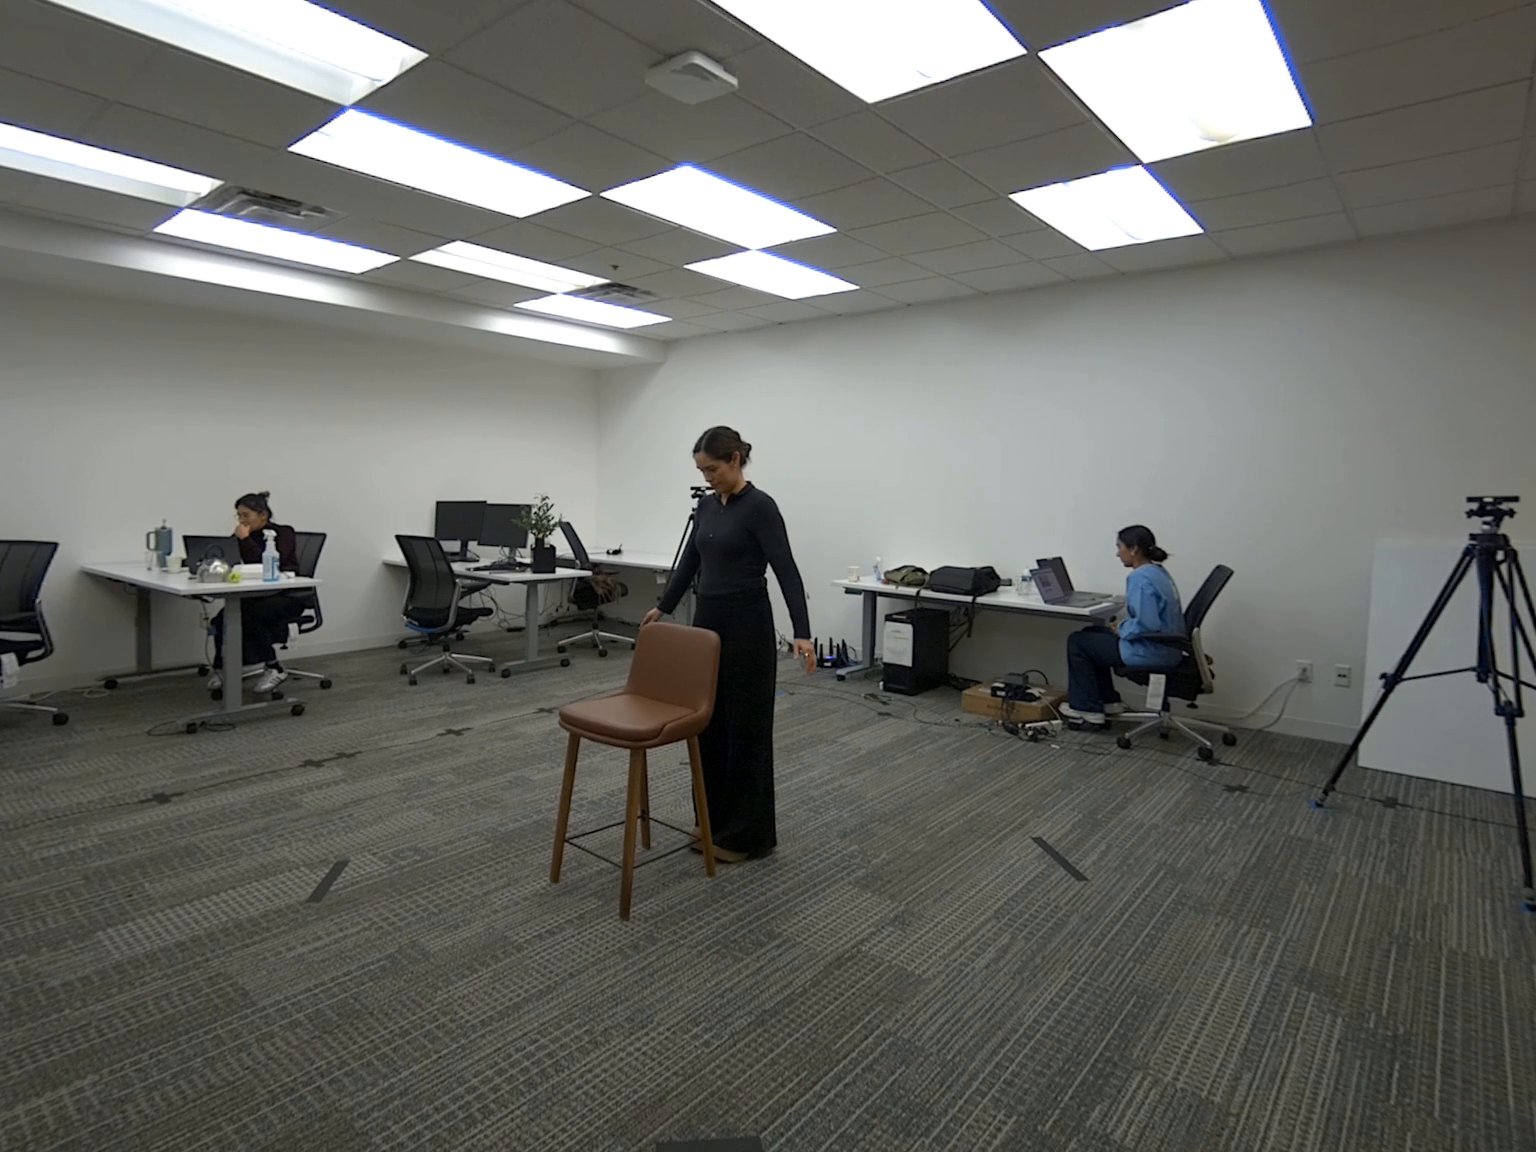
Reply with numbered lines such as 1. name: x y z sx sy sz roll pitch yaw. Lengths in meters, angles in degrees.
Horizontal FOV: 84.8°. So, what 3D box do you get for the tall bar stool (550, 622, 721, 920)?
1. tall bar stool: -0.465 0.633 2.994 0.472 0.889 0.453 4 2 41
